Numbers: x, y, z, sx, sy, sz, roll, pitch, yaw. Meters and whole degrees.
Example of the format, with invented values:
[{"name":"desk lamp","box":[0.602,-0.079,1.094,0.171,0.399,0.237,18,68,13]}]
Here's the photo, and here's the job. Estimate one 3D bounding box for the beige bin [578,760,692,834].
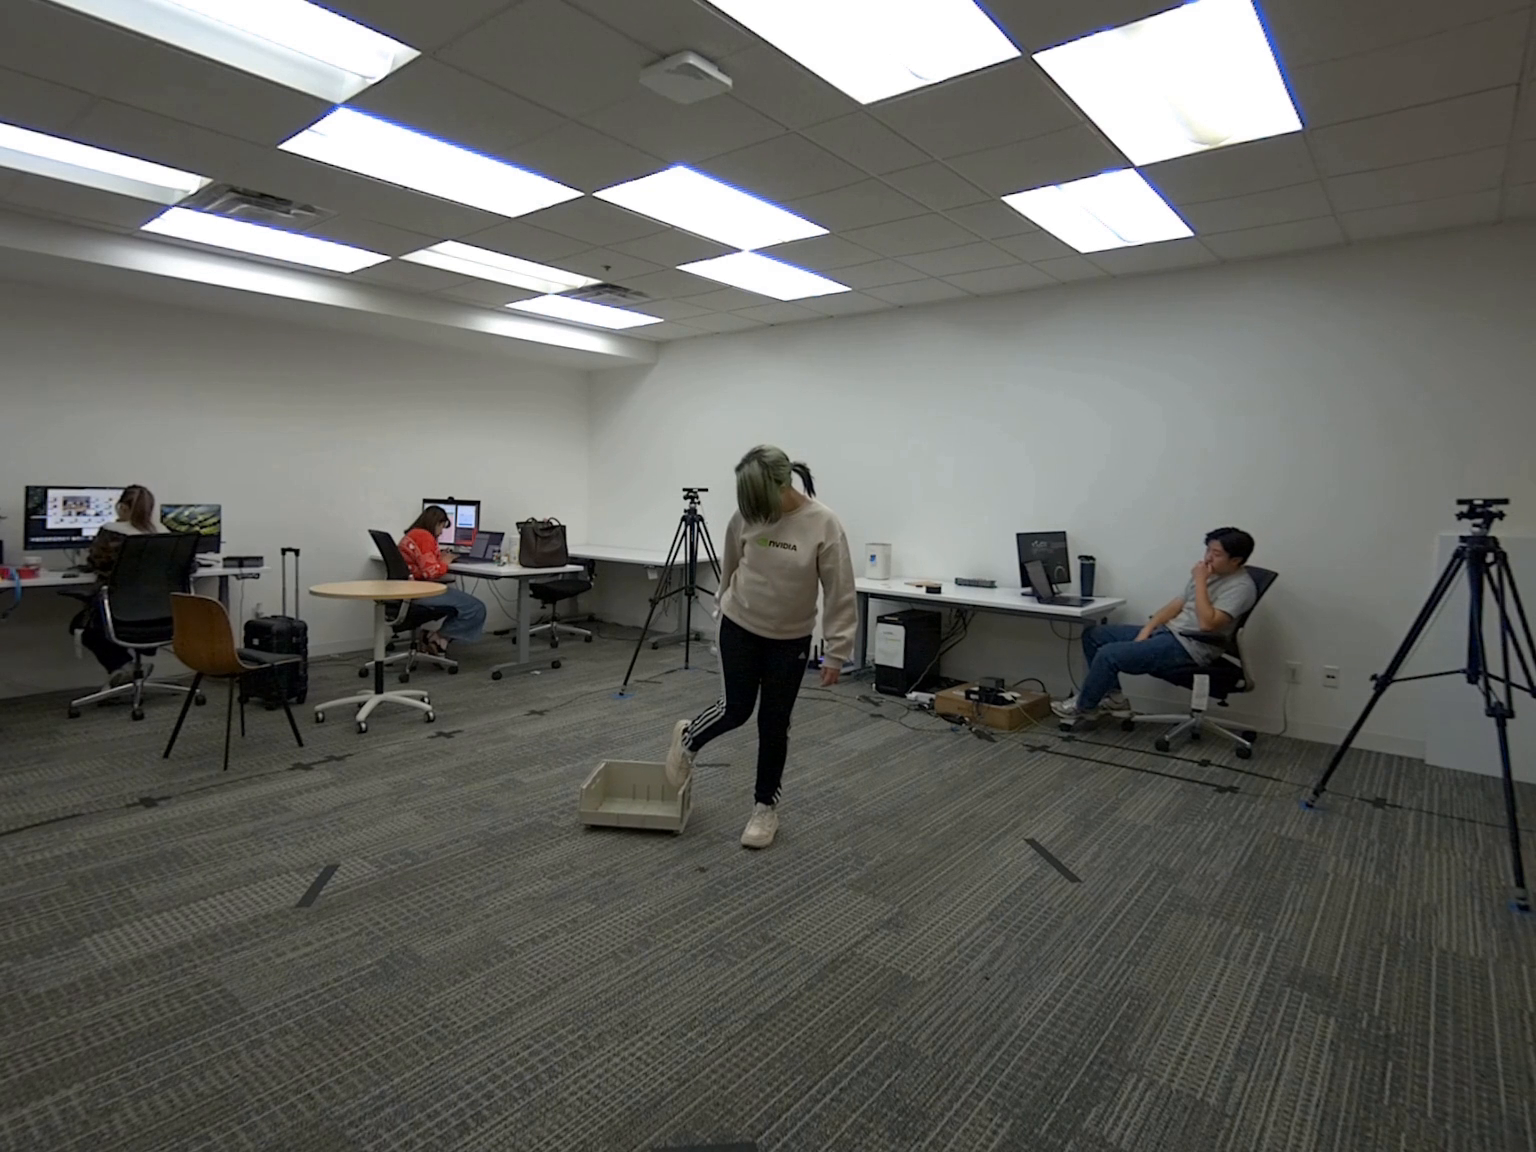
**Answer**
[{"name":"beige bin","box":[-0.556,0.929,3.585,0.426,0.188,0.376,2,5,6]}]
